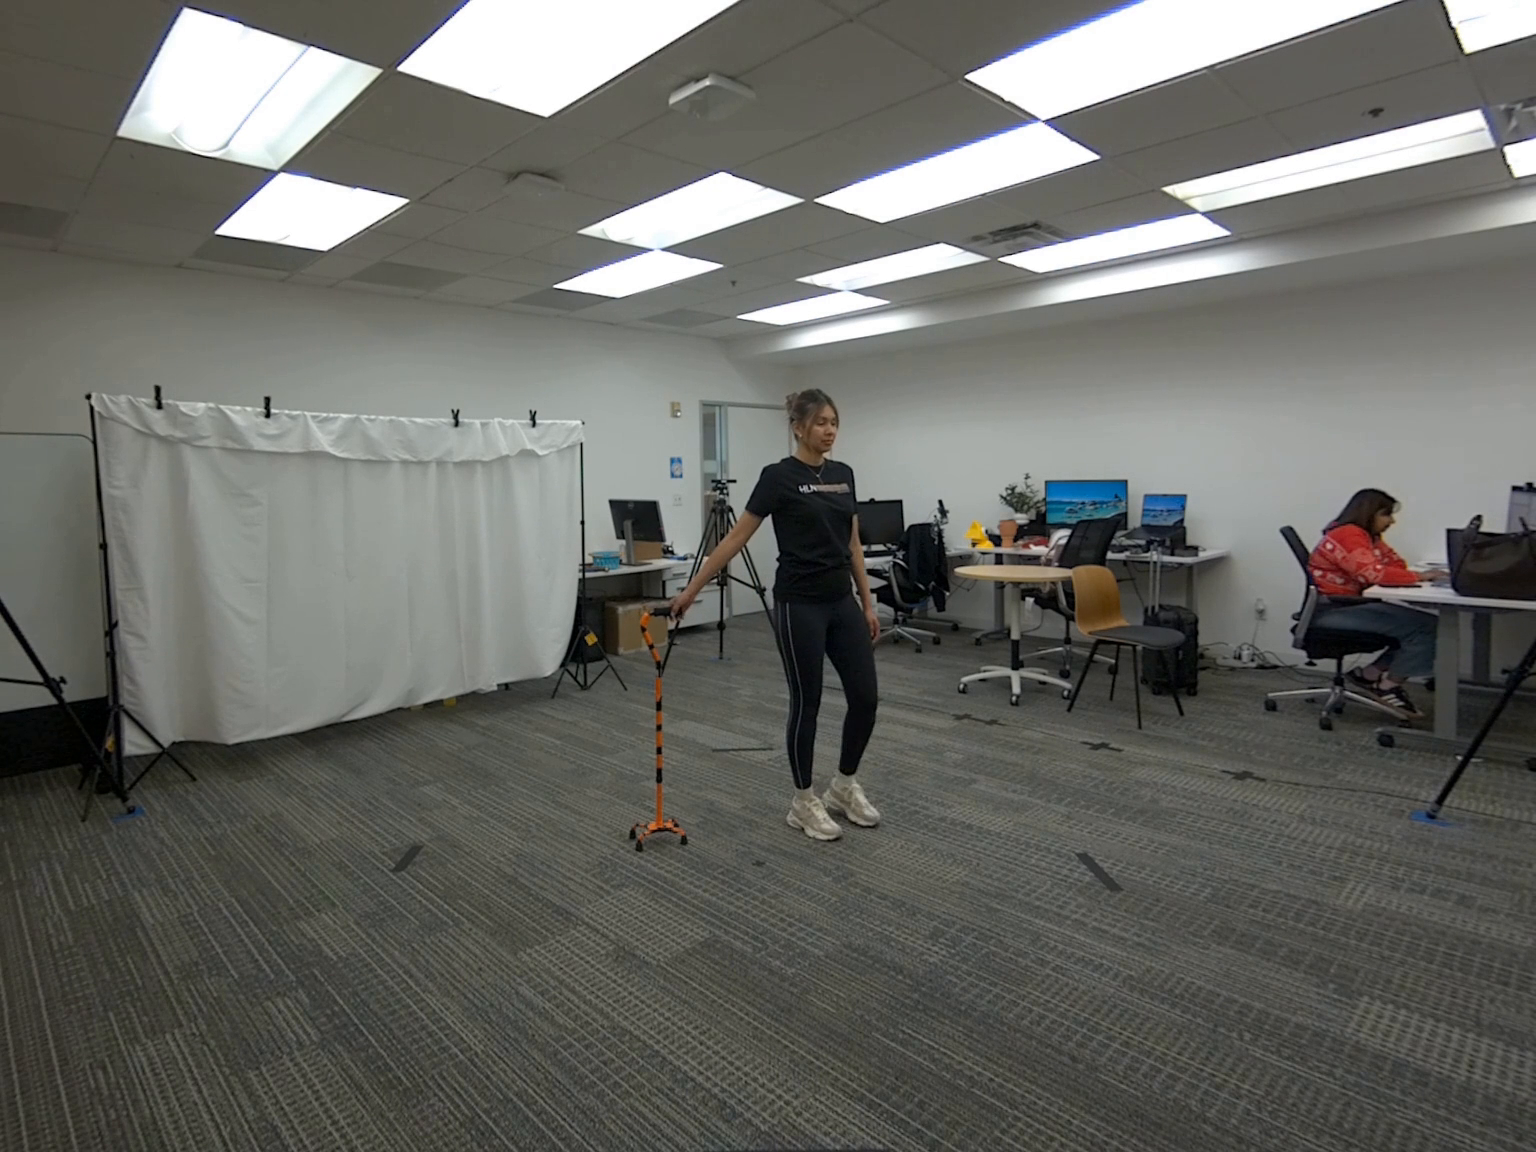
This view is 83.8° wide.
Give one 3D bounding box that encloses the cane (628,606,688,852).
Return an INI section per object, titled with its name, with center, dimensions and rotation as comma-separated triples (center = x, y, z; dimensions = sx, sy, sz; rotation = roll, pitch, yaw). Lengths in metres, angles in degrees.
[cane]
center = -0.419, 0.580, 3.303
dimensions = 0.203, 0.905, 0.154
rotation = 0, 3, -19
